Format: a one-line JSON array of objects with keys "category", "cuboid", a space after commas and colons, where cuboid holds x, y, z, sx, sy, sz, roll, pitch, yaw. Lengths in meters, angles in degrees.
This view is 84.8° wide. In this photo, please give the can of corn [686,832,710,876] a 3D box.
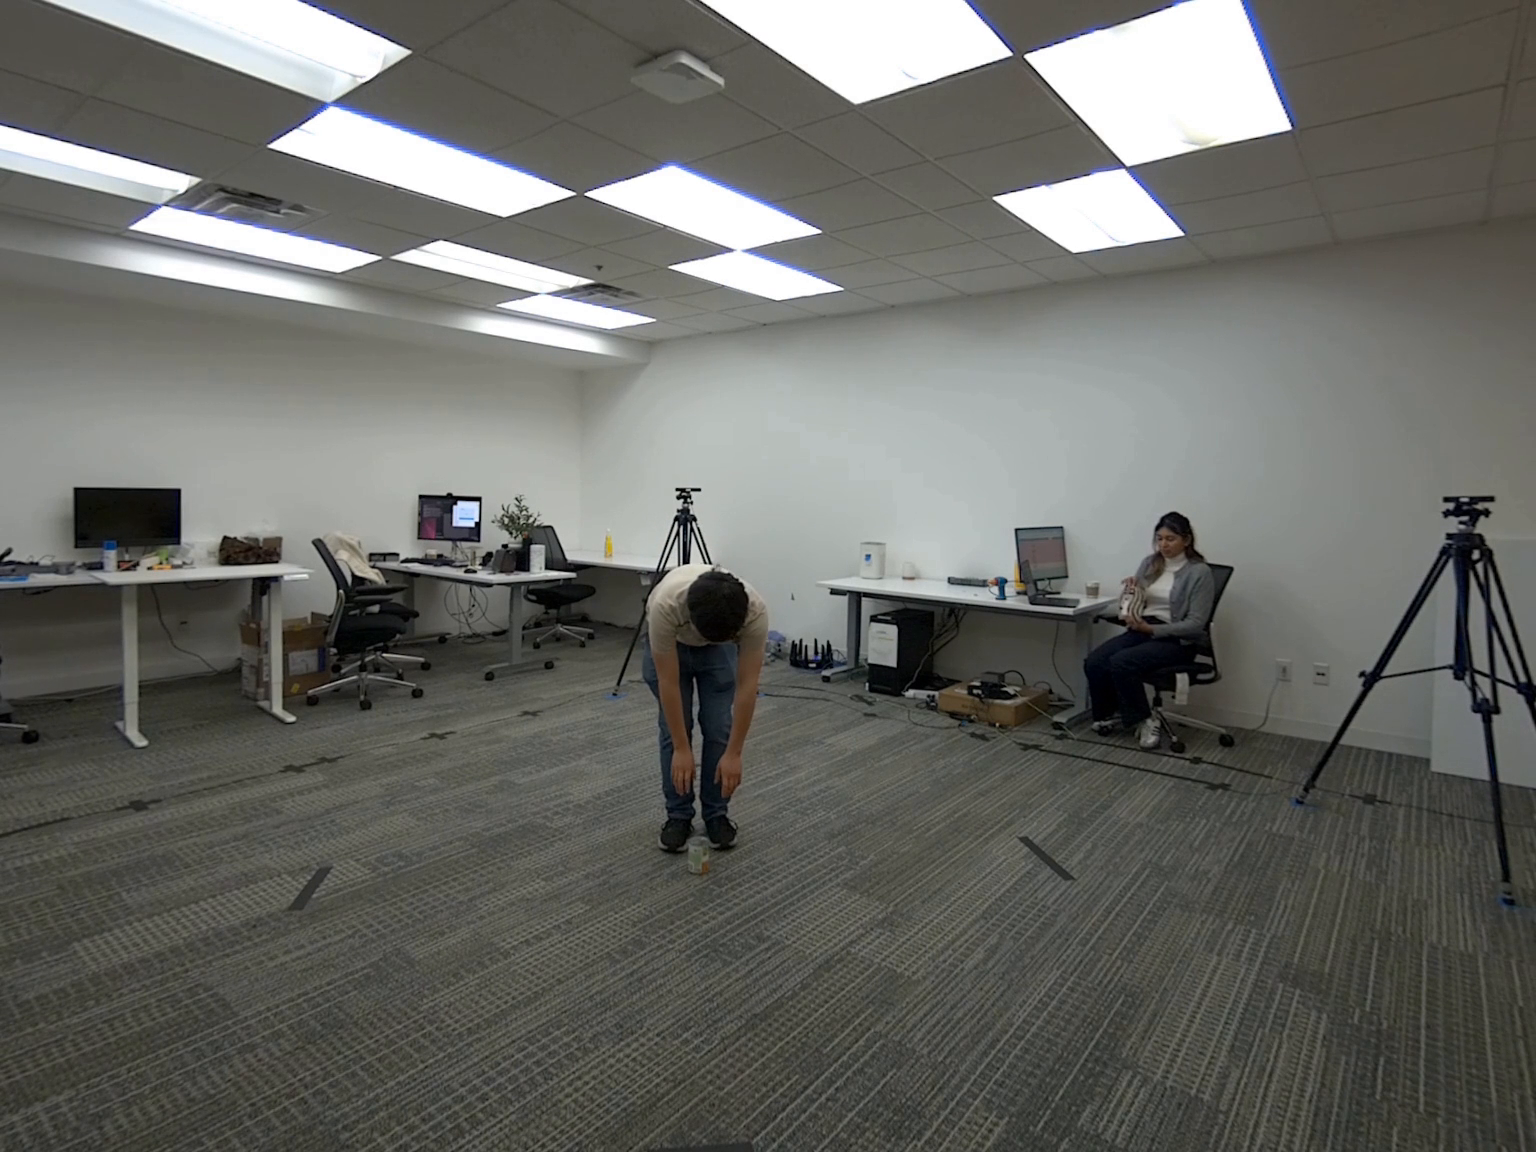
[{"category": "can of corn", "cuboid": [-0.271, 1.021, 3.092, 0.074, 0.110, 0.074, -1, 4, -2]}]
